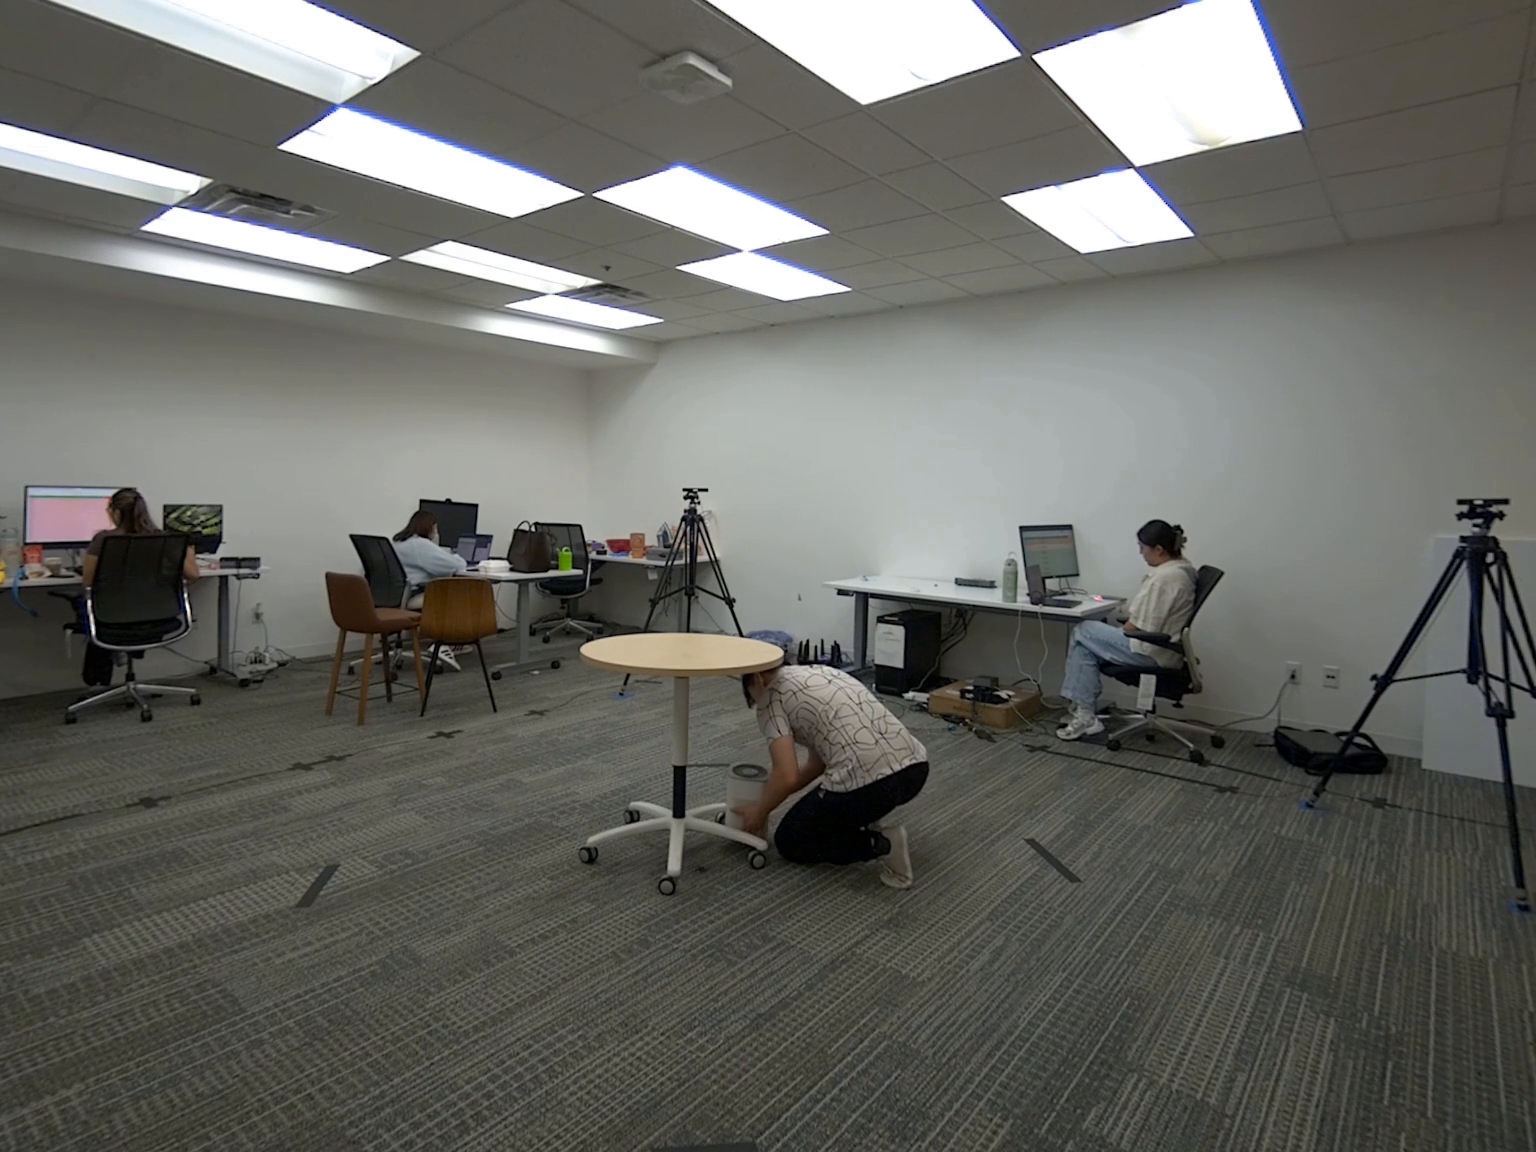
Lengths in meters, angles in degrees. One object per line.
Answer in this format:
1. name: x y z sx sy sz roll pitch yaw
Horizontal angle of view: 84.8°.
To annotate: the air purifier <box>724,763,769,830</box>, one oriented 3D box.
1. air purifier: -0.085 0.890 3.345 0.172 0.263 0.171 4 9 4
